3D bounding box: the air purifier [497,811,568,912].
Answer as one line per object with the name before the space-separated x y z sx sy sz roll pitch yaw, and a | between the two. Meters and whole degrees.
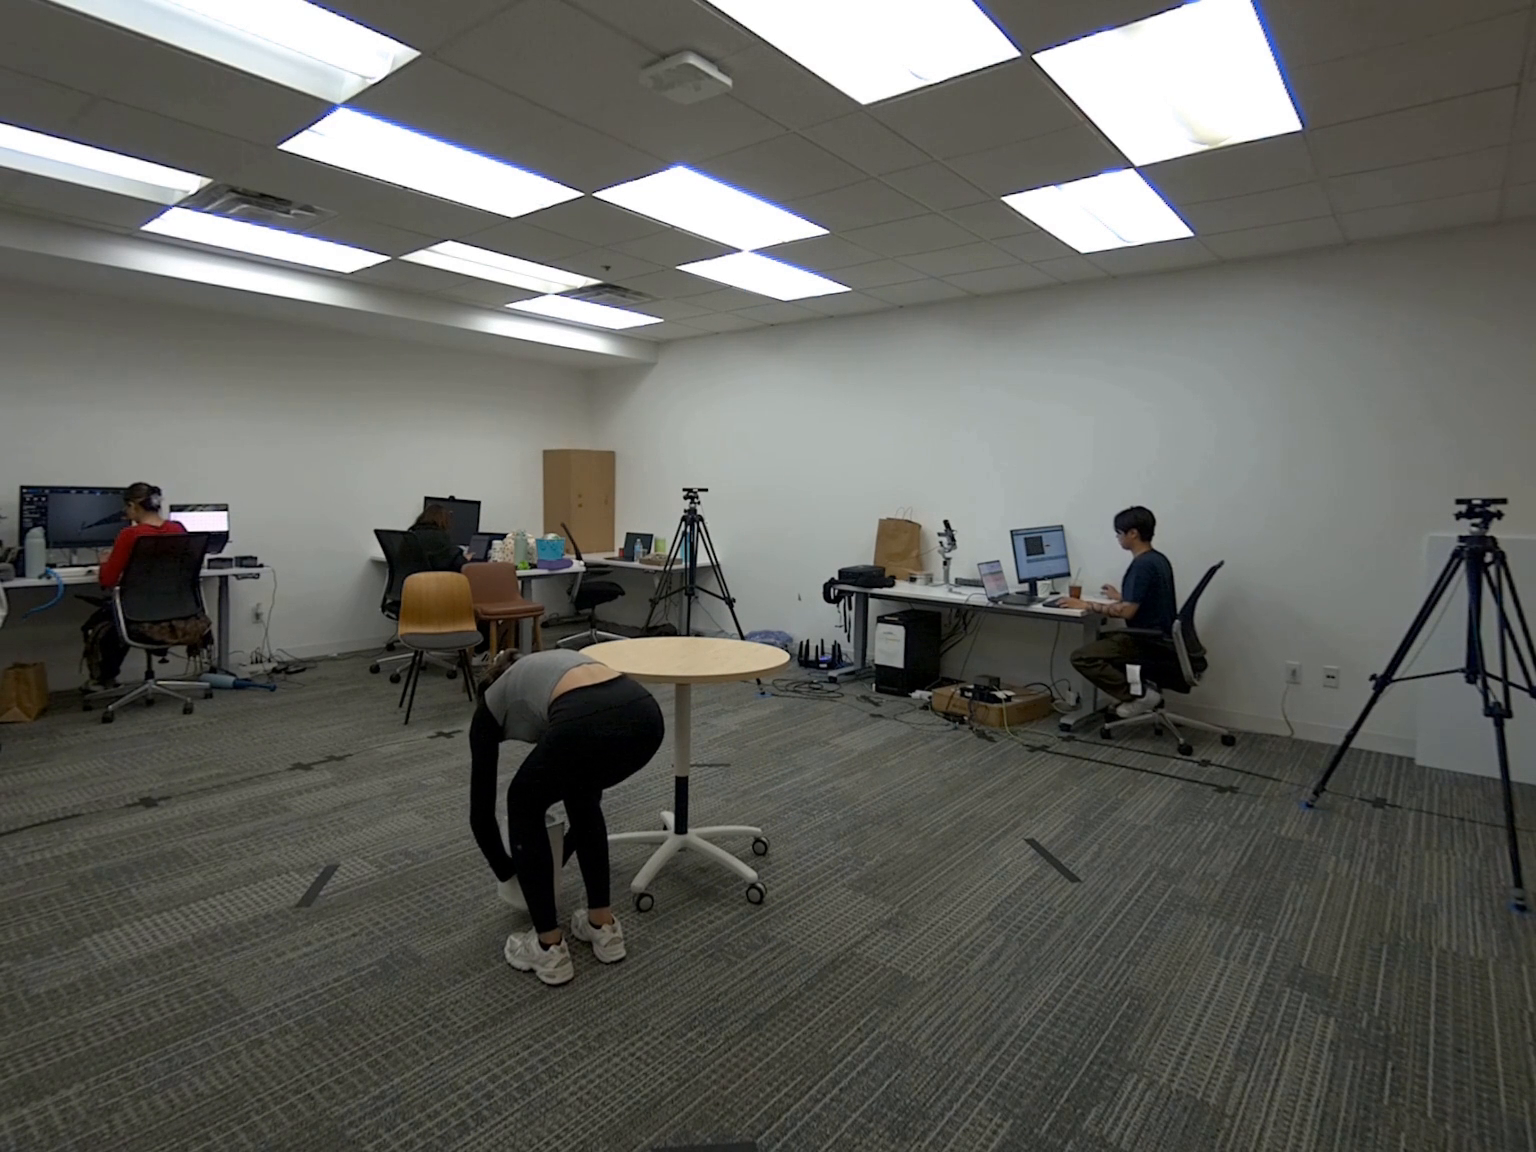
air purifier | -0.780 0.911 2.751 0.177 0.265 0.165 4 0 36
